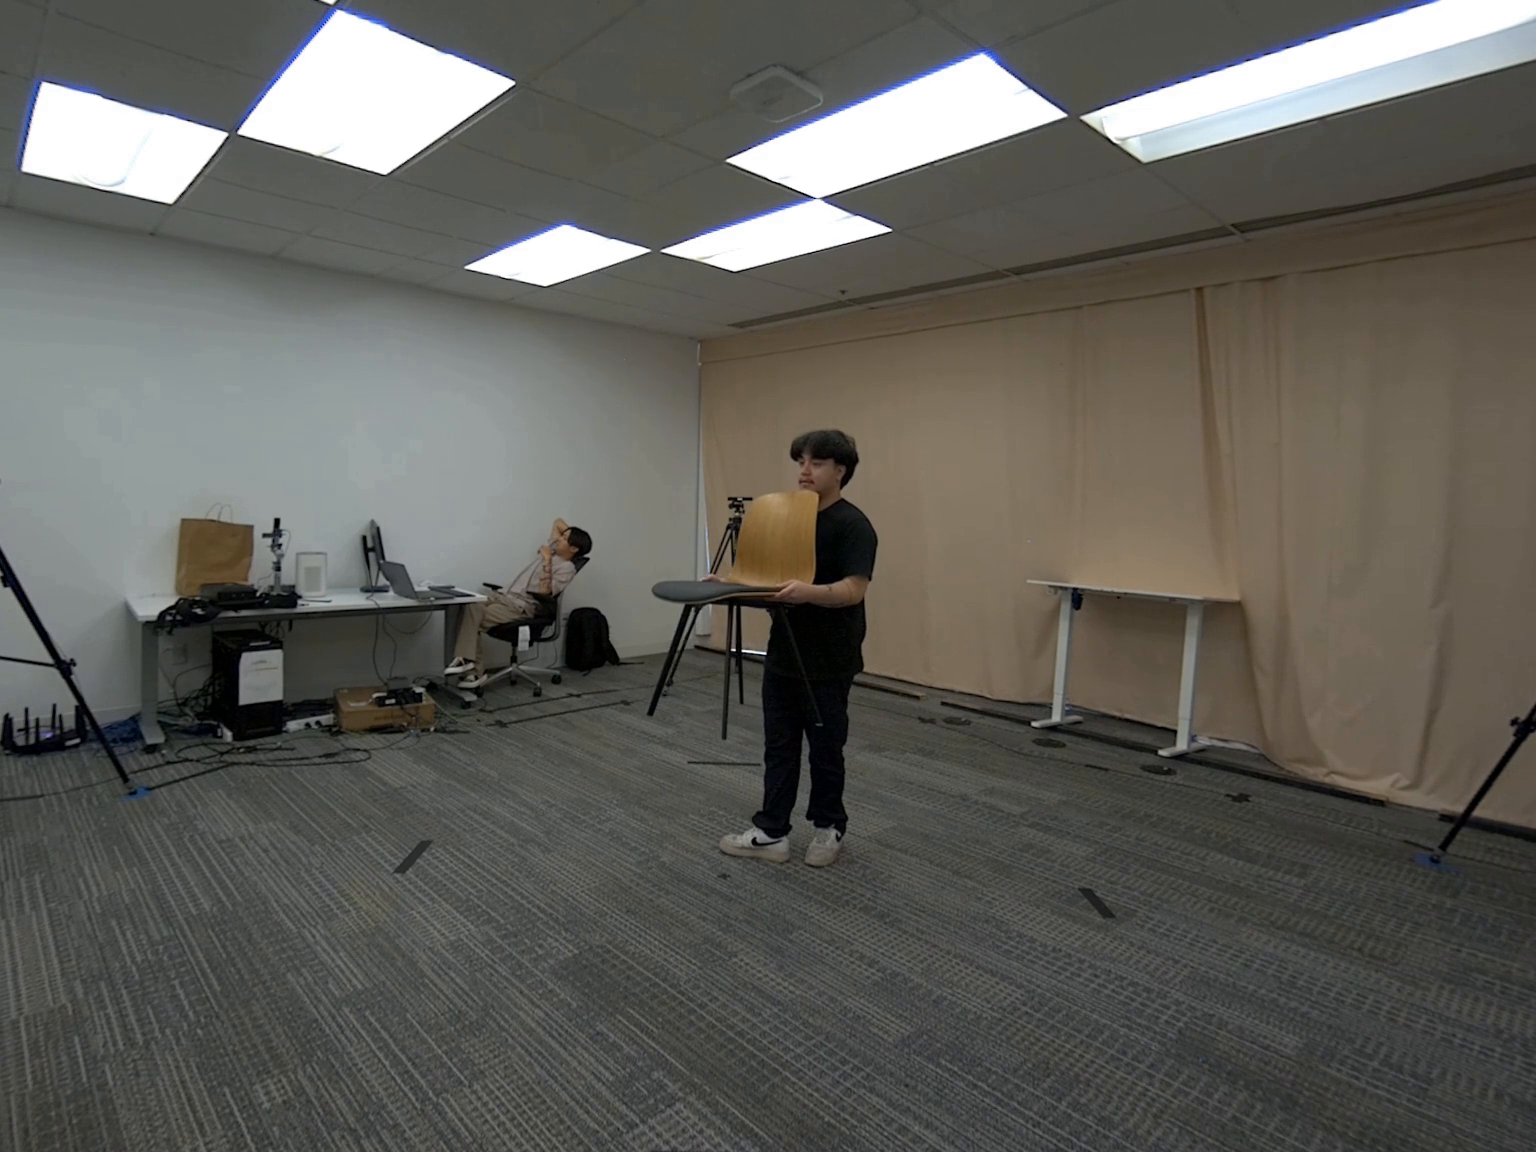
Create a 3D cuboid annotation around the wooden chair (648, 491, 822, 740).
[{"bbox_3d":[-0.130,0.100,3.026,0.510,0.878,0.490,6,-2,-41],"label":"wooden chair"}]
